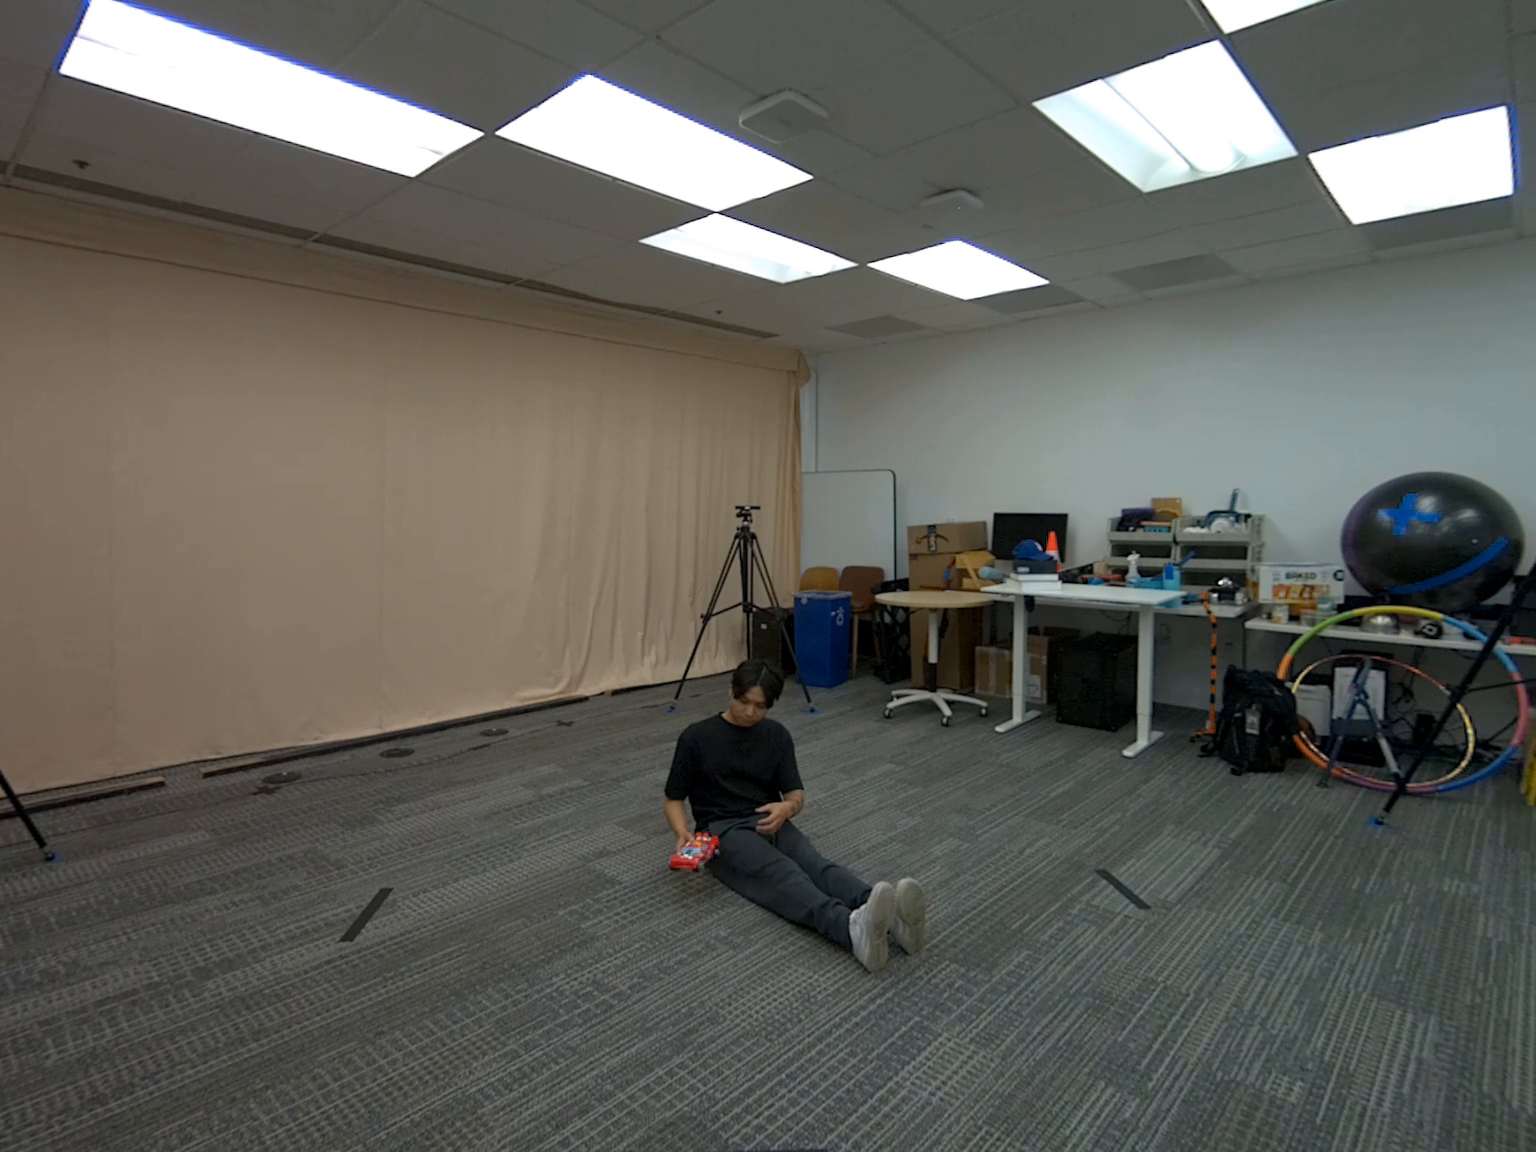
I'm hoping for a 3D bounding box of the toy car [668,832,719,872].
[{"bbox_3d":[-0.234,0.972,2.991,0.133,0.082,0.251,-4,10,19],"label":"toy car"}]
